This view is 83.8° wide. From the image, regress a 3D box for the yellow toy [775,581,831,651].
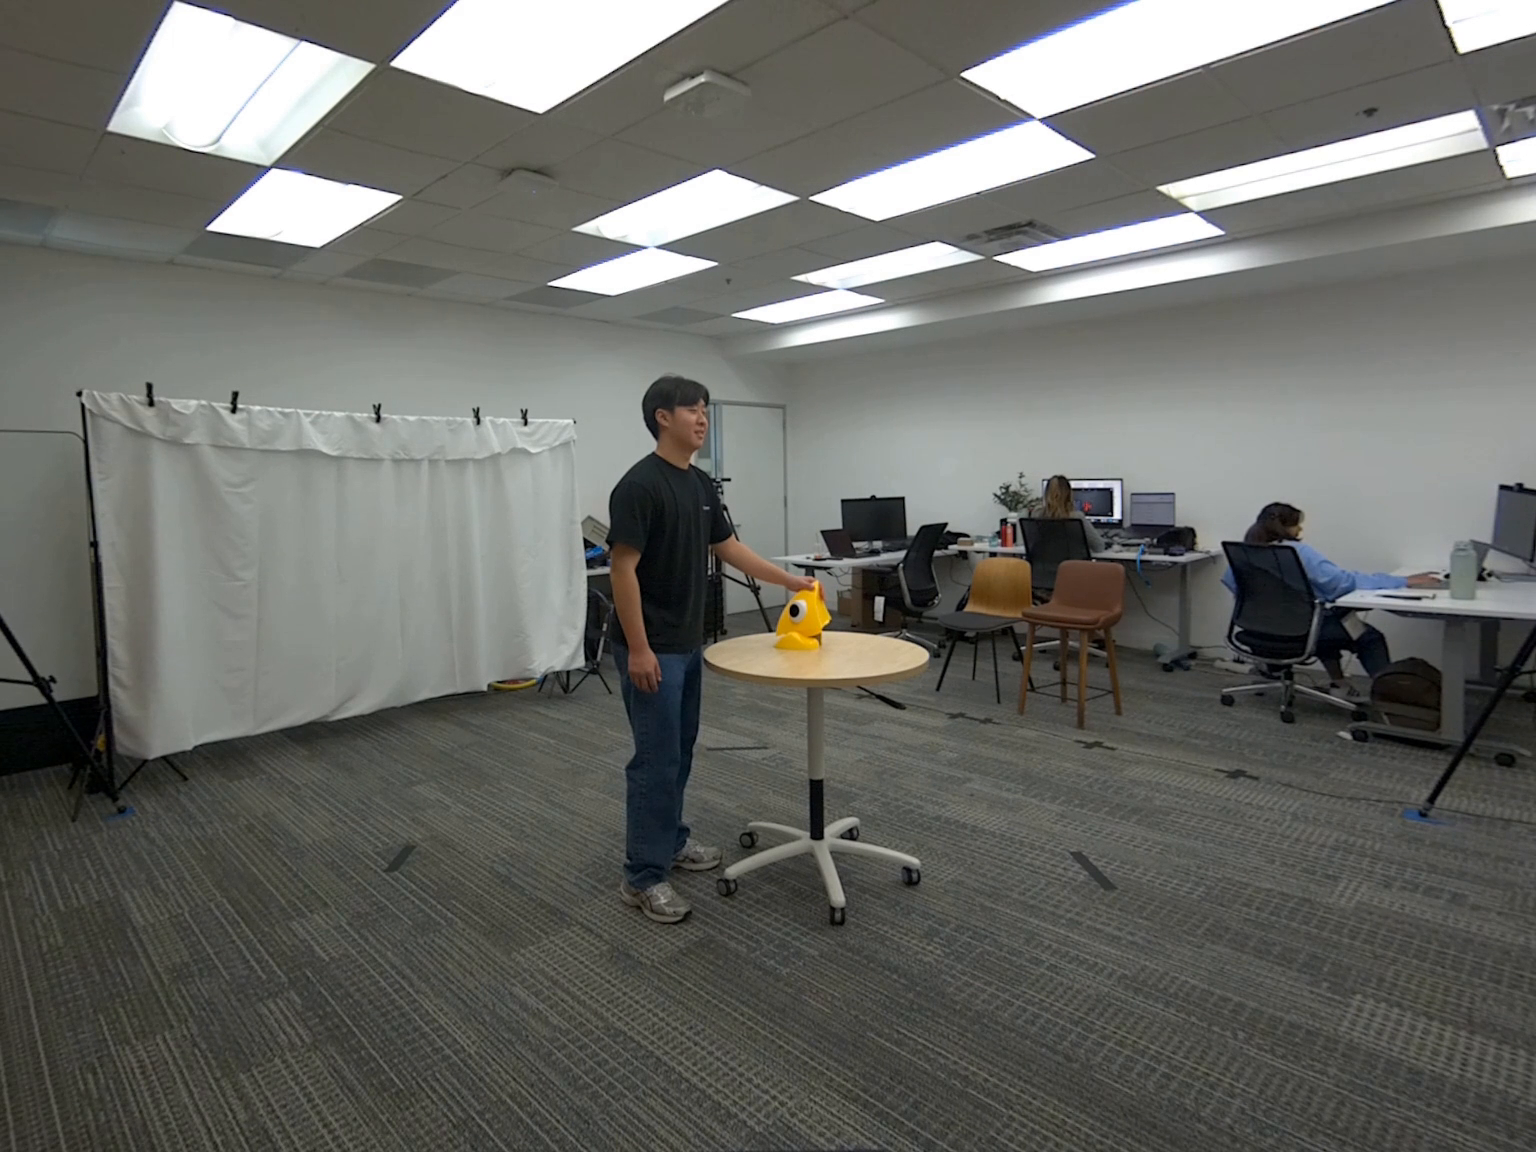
[{"bbox_3d":[0.120,0.133,3.051,0.196,0.230,0.202,1,5,15],"label":"yellow toy"}]
